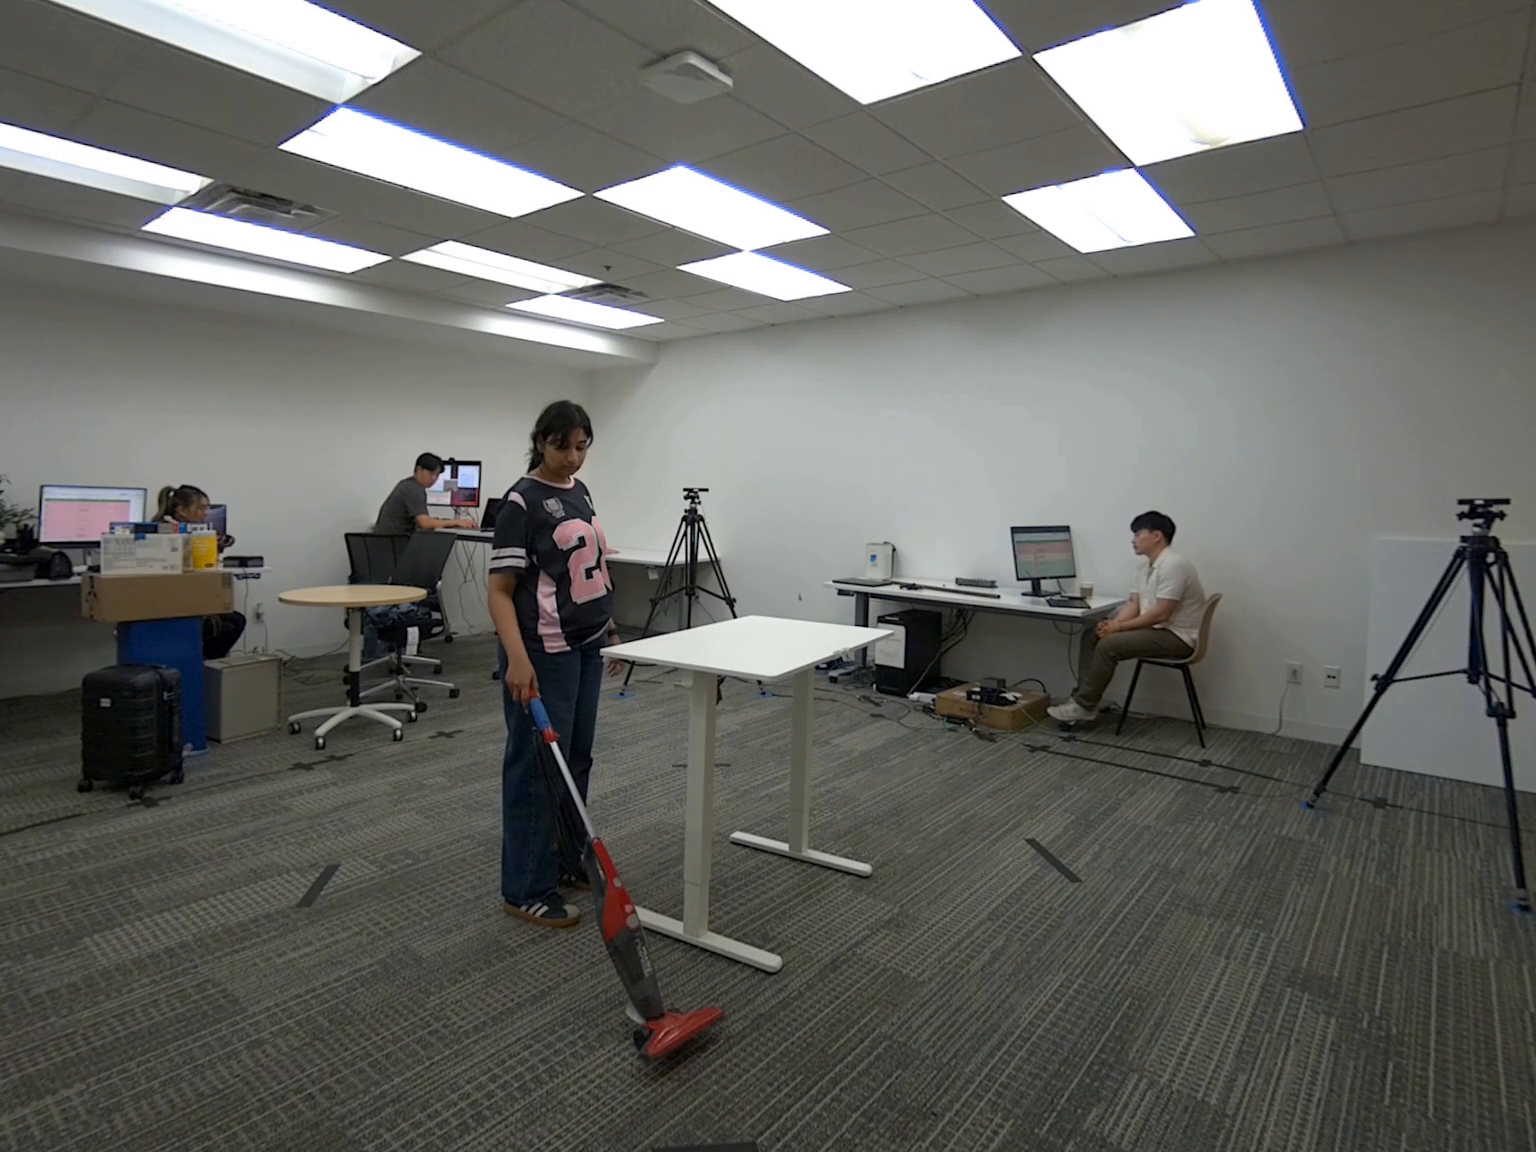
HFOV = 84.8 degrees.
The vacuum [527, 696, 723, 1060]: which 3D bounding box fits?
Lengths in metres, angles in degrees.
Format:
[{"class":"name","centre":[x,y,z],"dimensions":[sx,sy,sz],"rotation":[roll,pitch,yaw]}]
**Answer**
[{"class":"vacuum","centre":[-0.507,0.734,2.335],"dimensions":[0.244,1.084,0.144],"rotation":[1,-42,-51]}]
